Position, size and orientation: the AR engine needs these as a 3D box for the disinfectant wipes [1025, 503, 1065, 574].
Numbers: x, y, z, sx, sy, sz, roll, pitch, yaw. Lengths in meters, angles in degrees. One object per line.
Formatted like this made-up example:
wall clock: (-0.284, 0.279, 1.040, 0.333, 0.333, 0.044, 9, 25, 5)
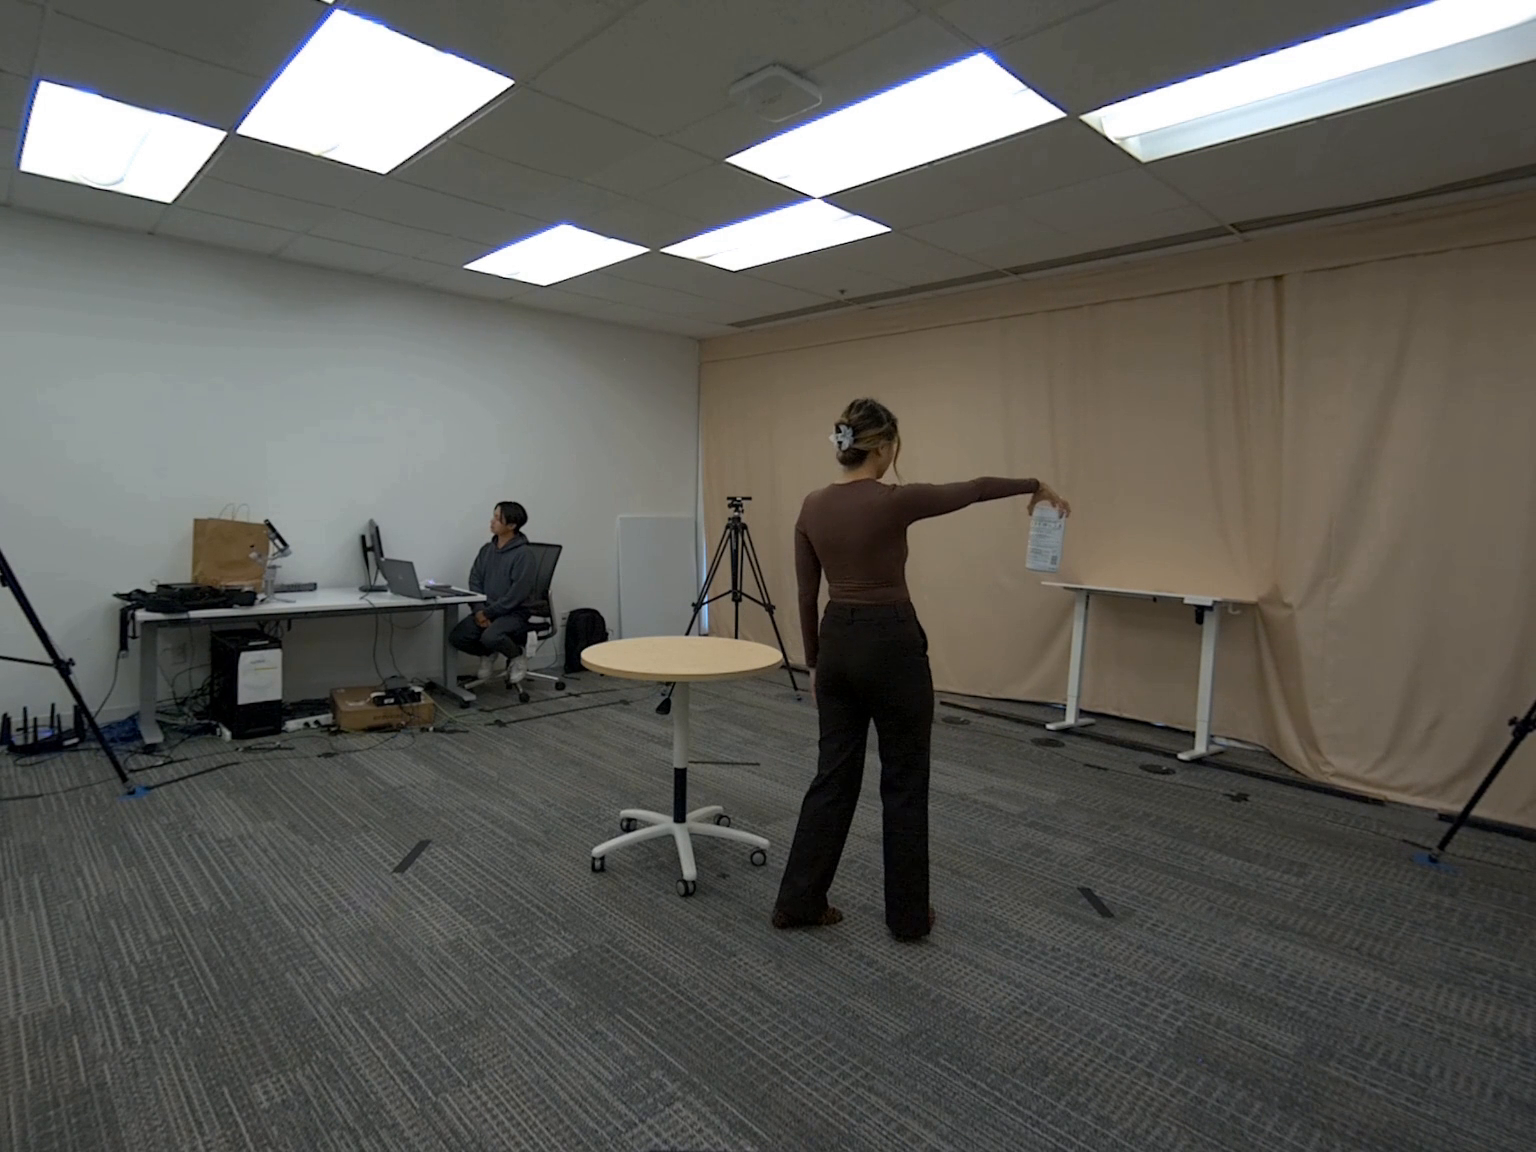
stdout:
disinfectant wipes: (0.933, -0.123, 2.843, 0.118, 0.216, 0.118, 3, 7, -2)
